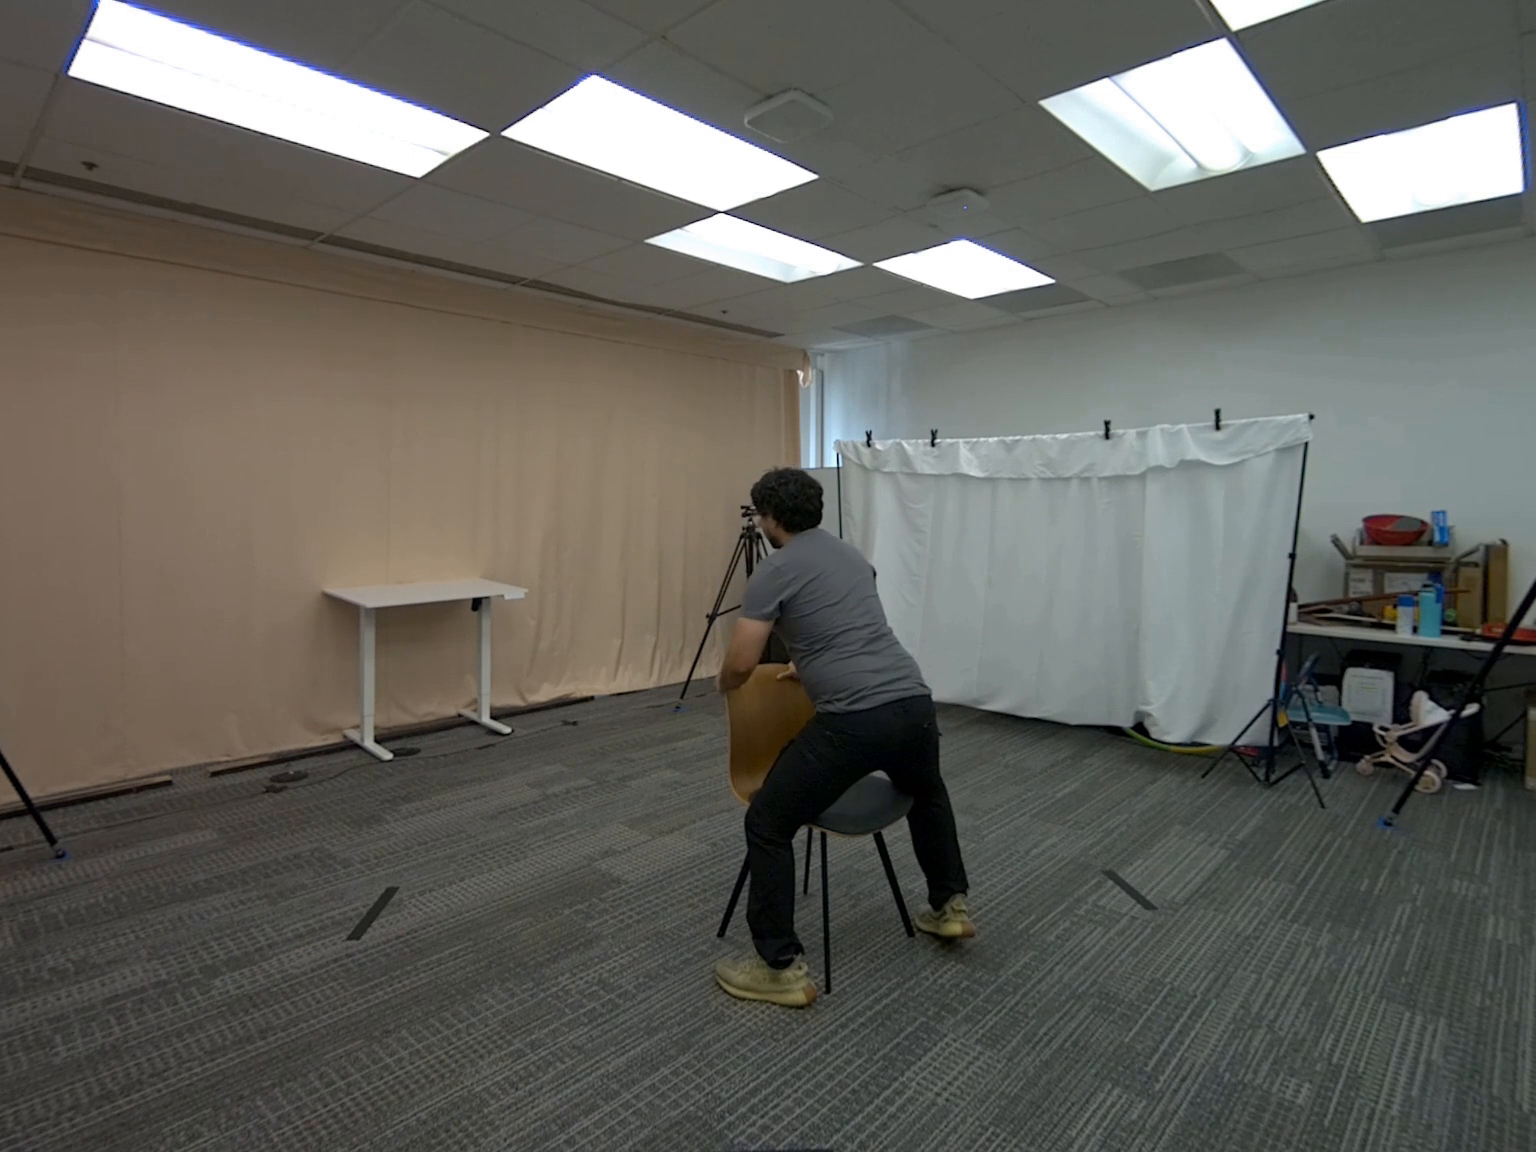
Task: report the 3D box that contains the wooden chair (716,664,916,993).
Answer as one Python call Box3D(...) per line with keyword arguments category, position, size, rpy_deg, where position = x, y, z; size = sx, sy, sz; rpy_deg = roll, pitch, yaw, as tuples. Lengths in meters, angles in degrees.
Box3D(category="wooden chair", position=(0.157, 0.741, 2.686), size=(0.539, 0.877, 0.463), rpy_deg=(-3, 0, 43))
